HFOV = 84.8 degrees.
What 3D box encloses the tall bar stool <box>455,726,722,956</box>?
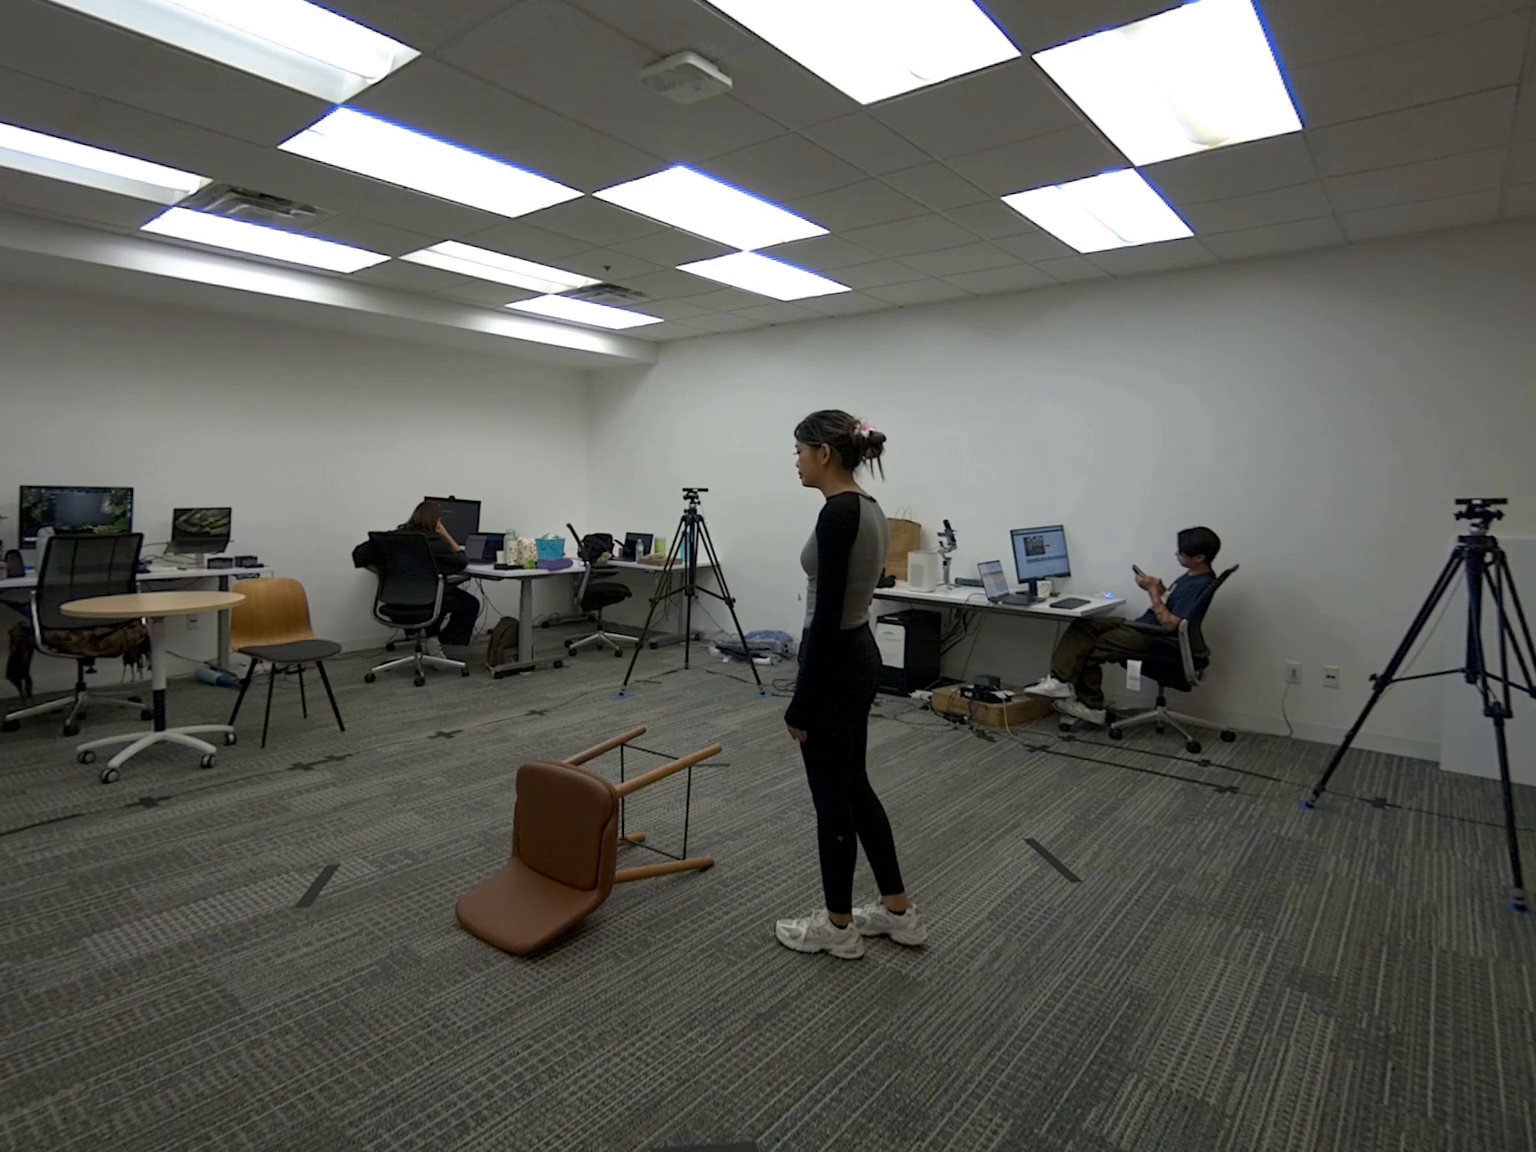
[{"bbox_3d":[-0.602,0.853,2.910,0.471,0.466,0.864,4,6,36],"label":"tall bar stool"}]
